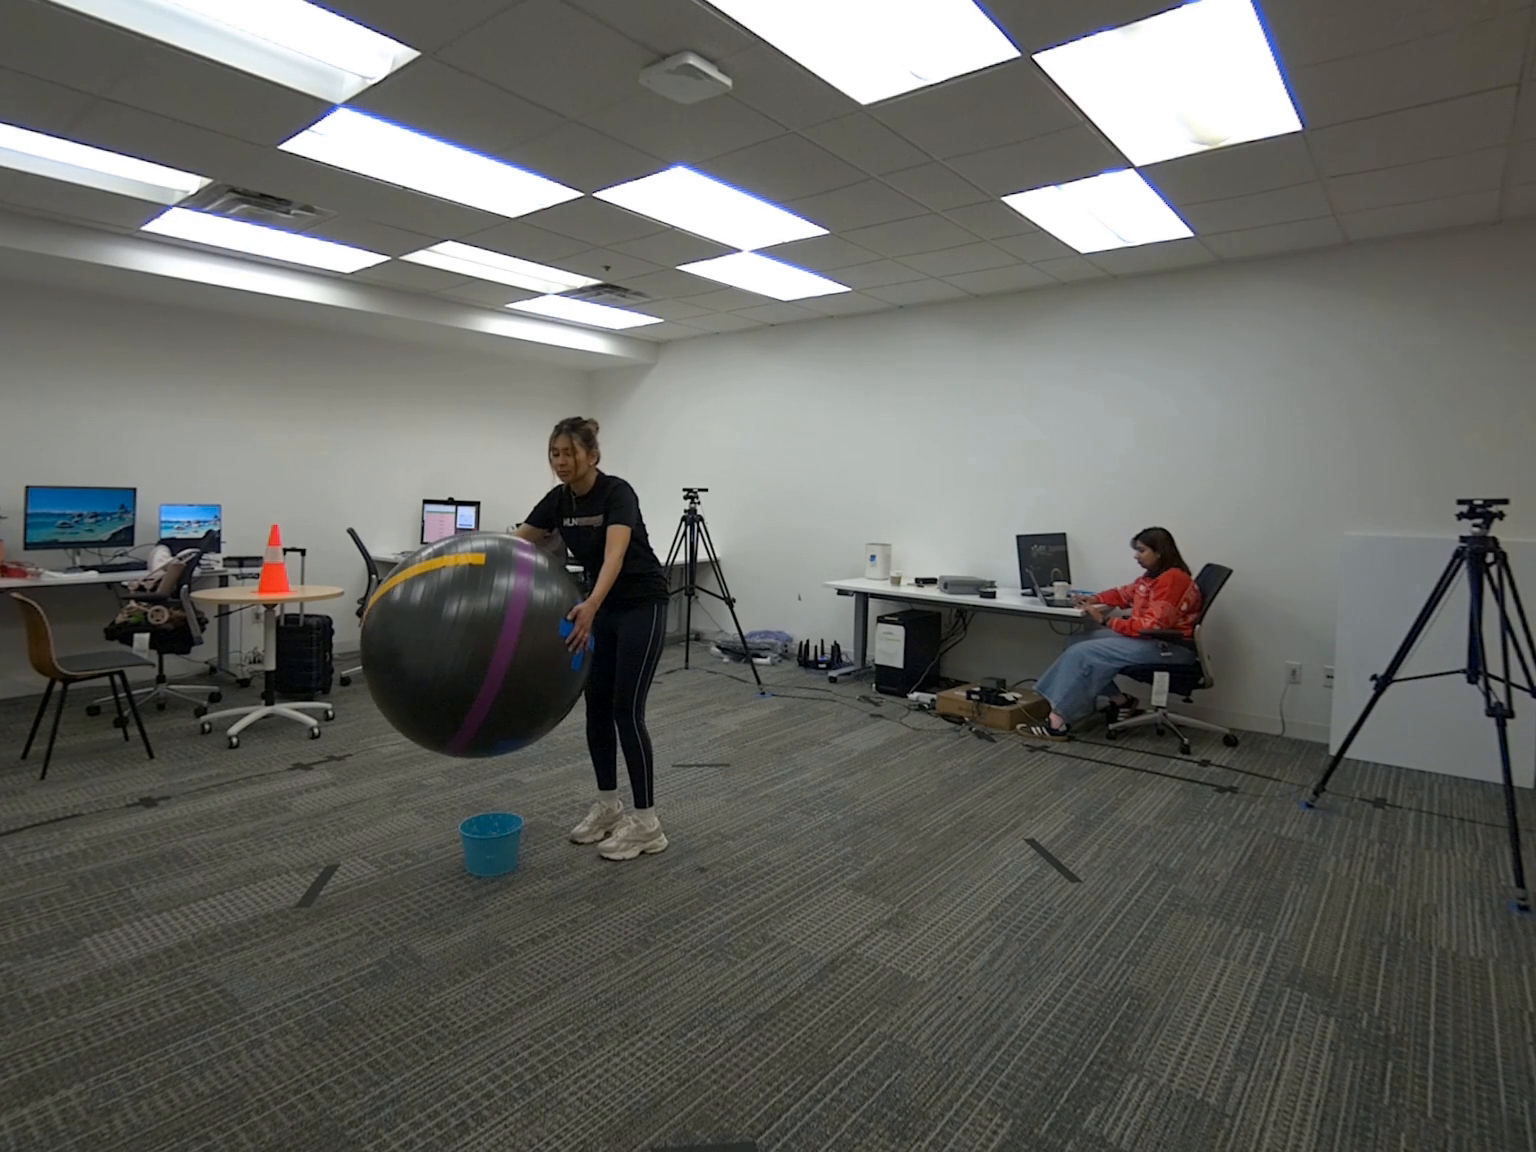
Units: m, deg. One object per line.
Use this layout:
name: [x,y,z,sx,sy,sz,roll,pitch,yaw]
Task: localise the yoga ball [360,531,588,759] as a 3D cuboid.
yoga ball: [-0.979,0.238,2.866,0.757,0.756,0.762,1,4,-2]
